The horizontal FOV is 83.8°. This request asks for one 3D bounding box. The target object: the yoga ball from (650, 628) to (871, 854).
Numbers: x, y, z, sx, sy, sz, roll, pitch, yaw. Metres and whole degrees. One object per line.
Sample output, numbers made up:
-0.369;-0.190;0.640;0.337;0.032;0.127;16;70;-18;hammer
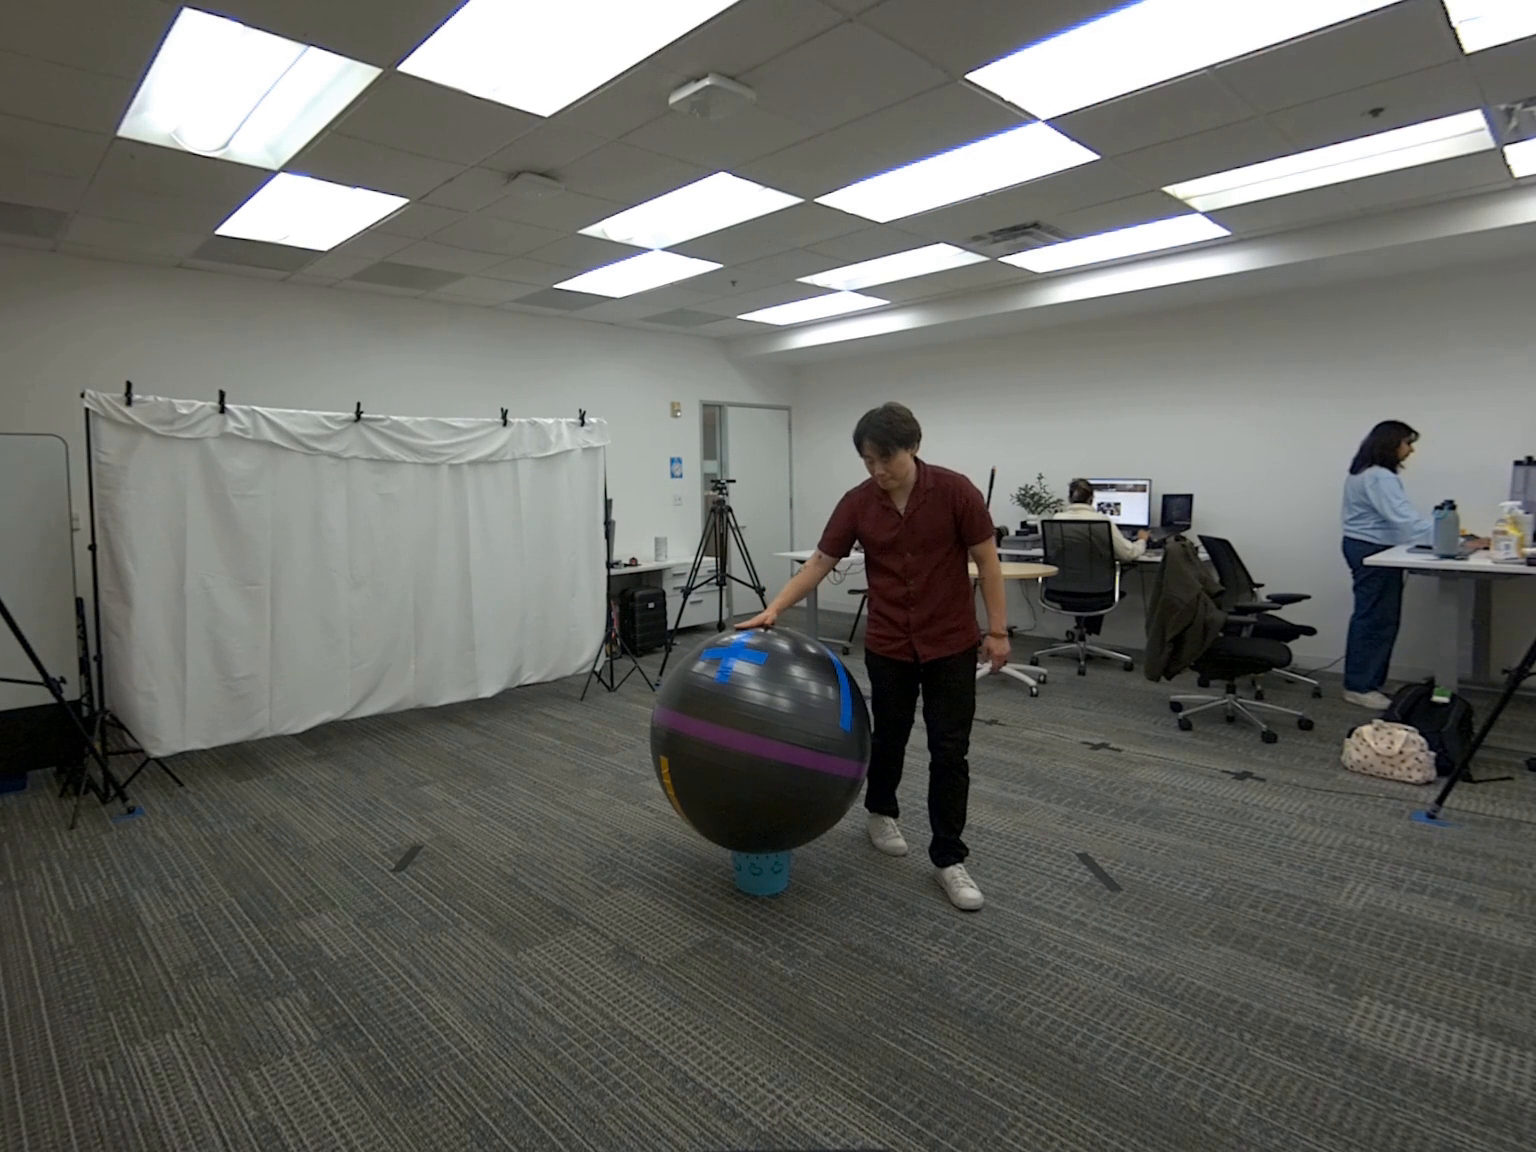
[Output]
-0.027;0.554;2.943;0.757;0.755;0.762;-1;5;-2;yoga ball
